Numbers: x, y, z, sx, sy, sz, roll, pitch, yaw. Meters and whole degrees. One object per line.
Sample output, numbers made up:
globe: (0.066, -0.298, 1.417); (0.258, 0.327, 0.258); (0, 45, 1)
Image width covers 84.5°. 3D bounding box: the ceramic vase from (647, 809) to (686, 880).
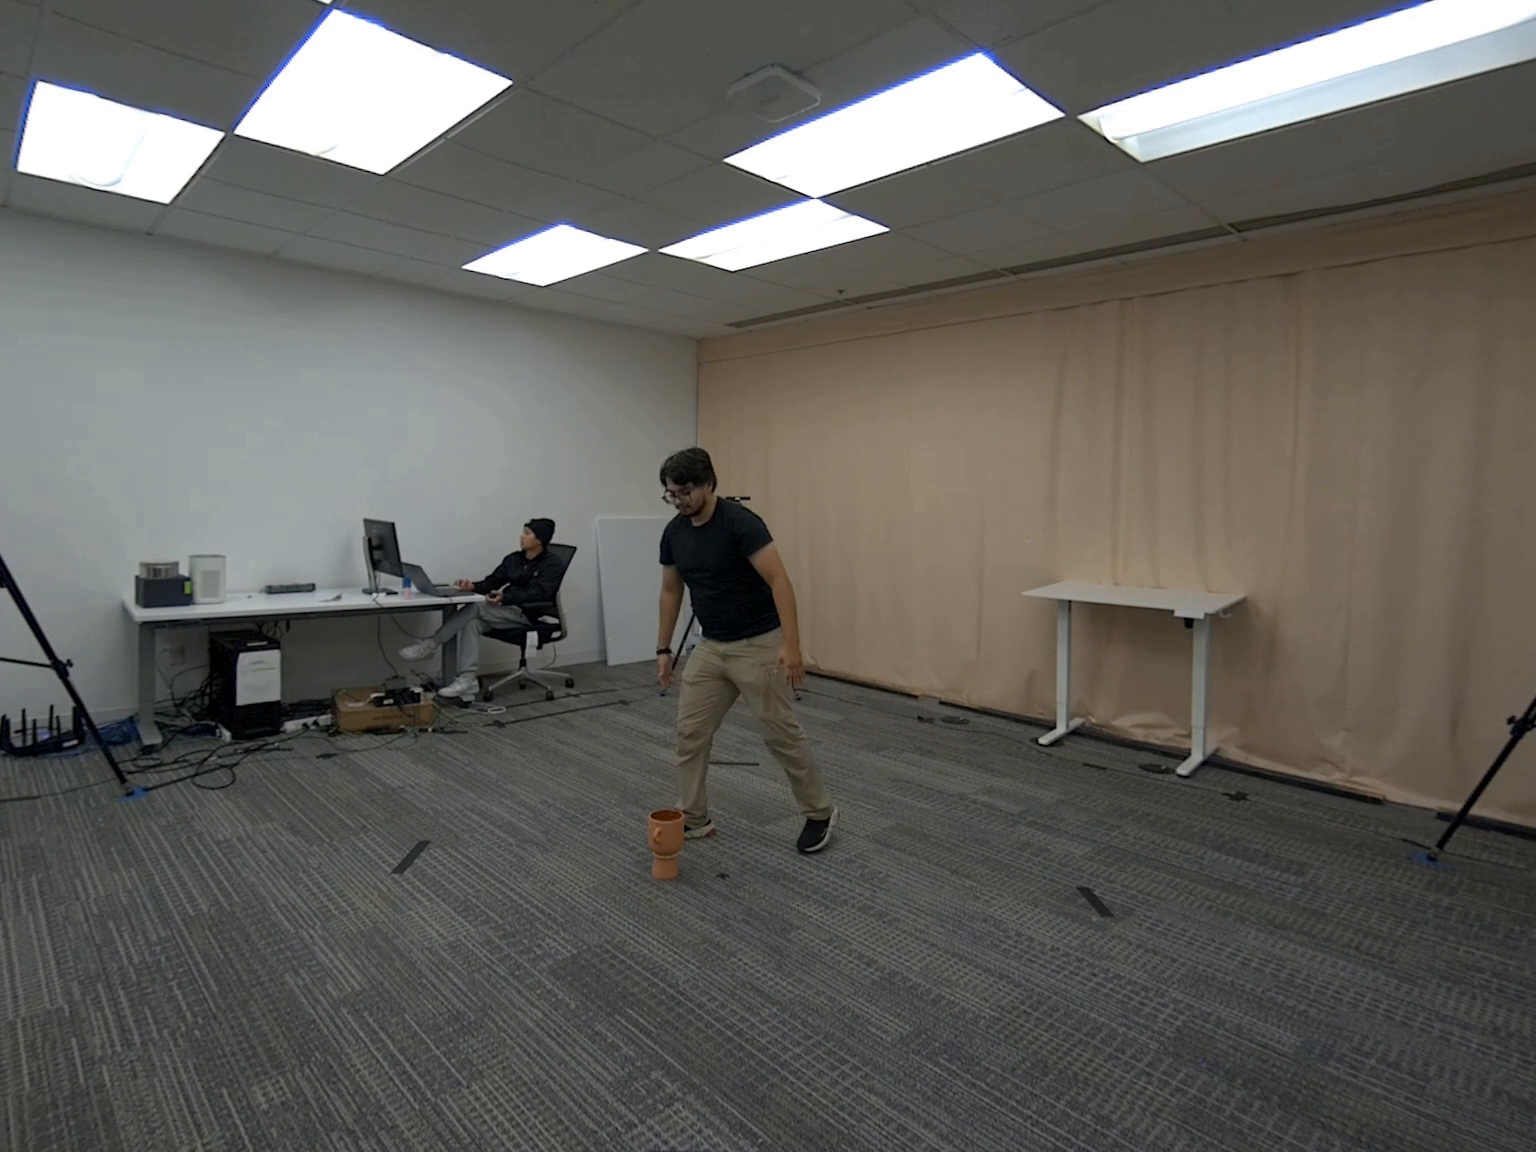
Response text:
ceramic vase: (-0.393, 0.990, 3.102); (0.155, 0.219, 0.138); (-2, 5, -33)
